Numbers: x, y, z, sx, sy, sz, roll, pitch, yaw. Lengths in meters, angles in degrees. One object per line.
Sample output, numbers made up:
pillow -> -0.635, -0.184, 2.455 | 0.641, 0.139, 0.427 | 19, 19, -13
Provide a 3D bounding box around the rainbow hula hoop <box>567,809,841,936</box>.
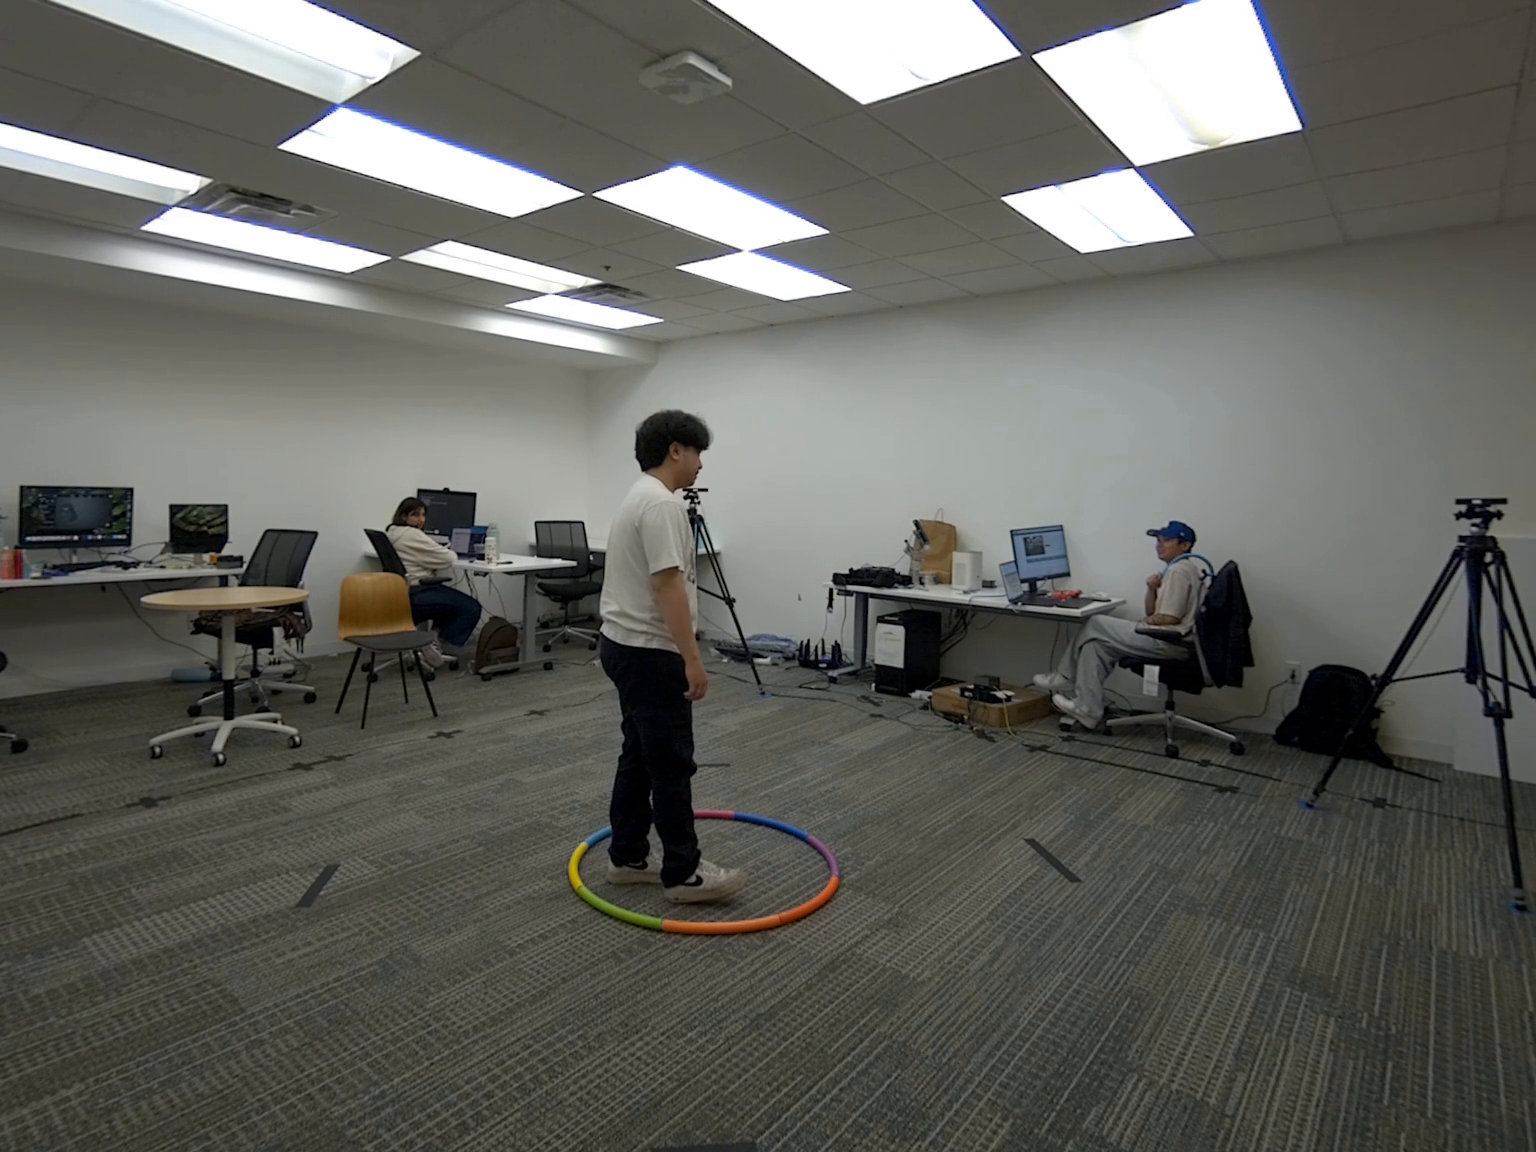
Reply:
rainbow hula hoop -> -0.243, 1.043, 3.125 | 0.984, 0.051, 0.991 | 1, 6, -2
